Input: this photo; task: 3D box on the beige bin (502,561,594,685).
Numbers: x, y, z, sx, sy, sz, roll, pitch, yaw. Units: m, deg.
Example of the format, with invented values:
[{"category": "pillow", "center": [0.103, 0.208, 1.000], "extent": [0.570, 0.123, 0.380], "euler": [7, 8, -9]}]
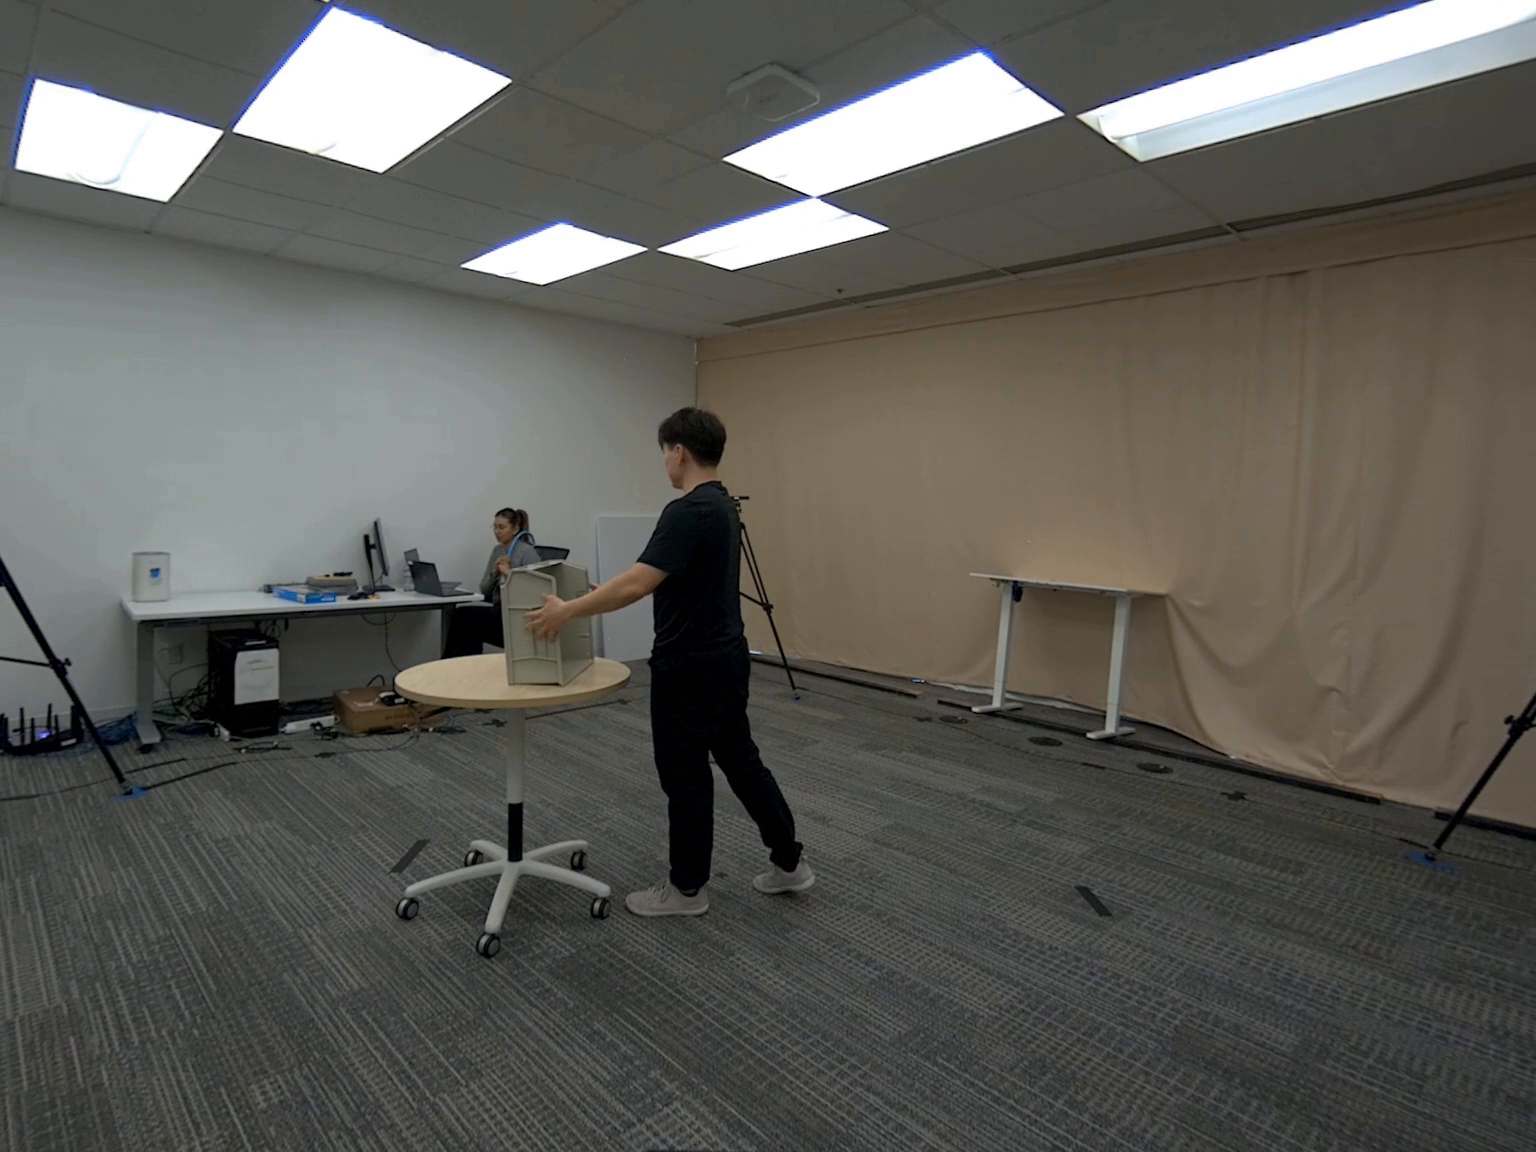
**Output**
[{"category": "beige bin", "center": [-0.742, 0.148, 2.845], "extent": [0.189, 0.376, 0.423], "euler": [-1, 4, 0]}]
